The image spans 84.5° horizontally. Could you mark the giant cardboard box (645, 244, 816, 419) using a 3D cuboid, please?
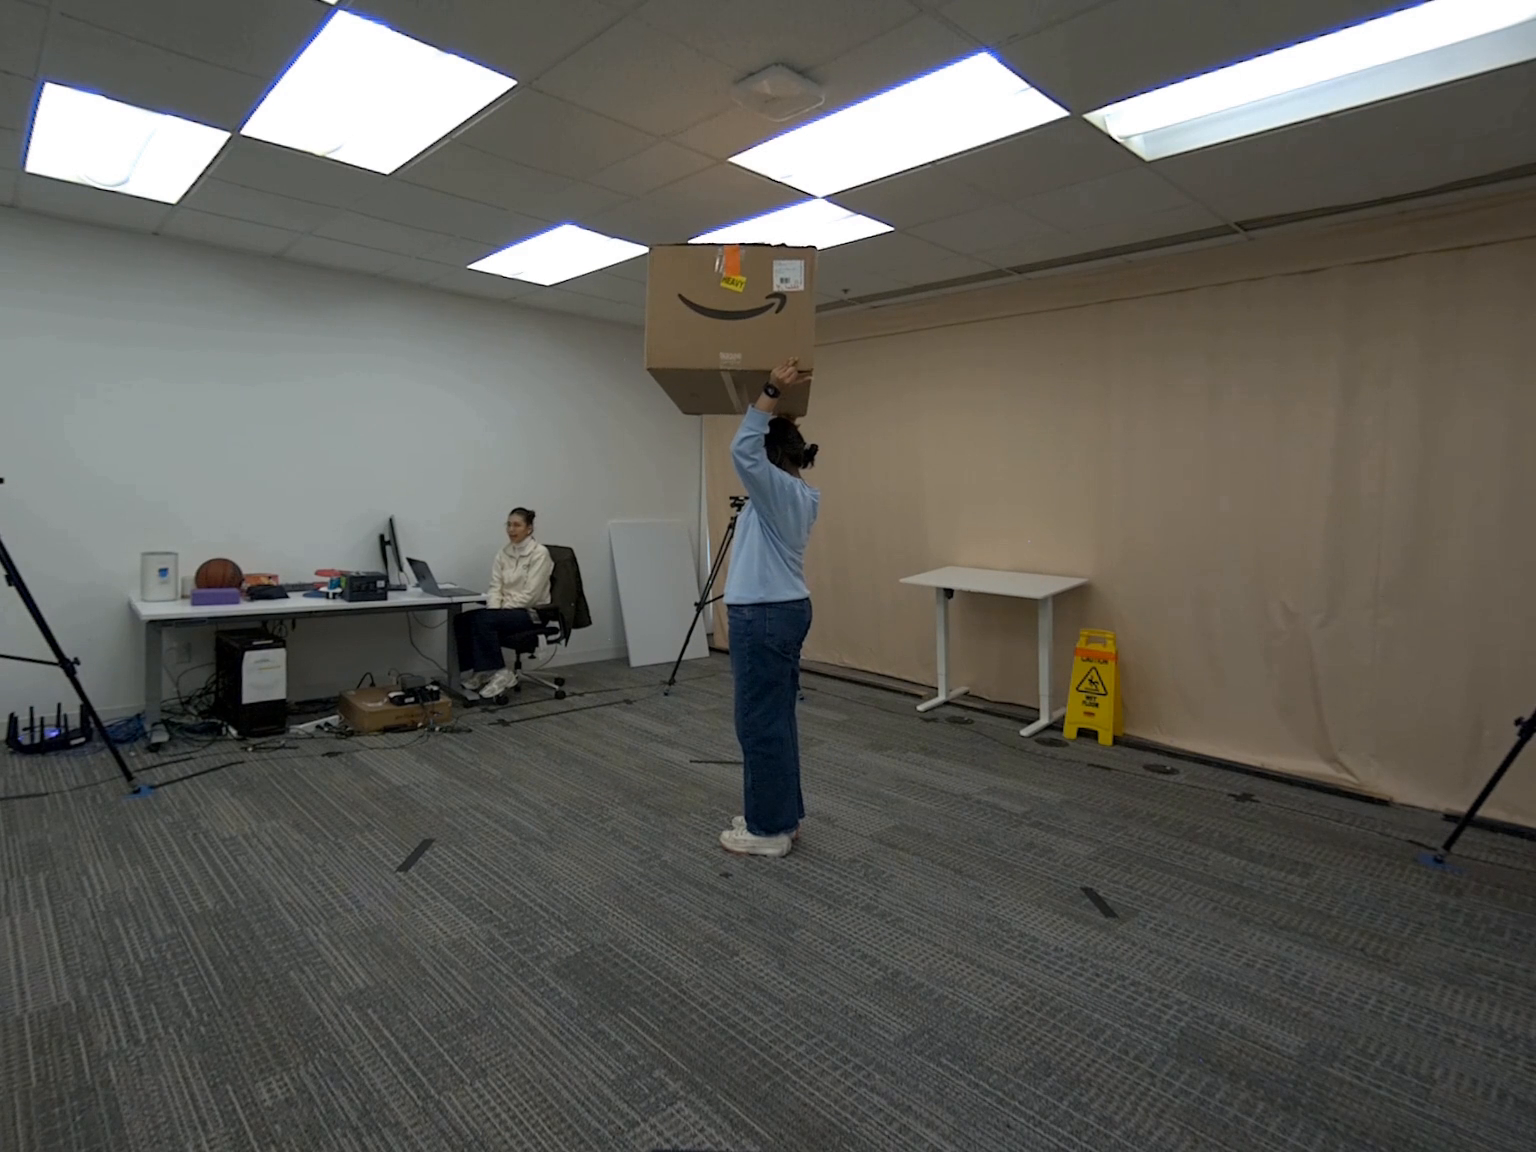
[{"bbox_3d":[-0.121,-0.919,3.338,0.579,0.426,1.024,1,2,2],"label":"giant cardboard box"}]
